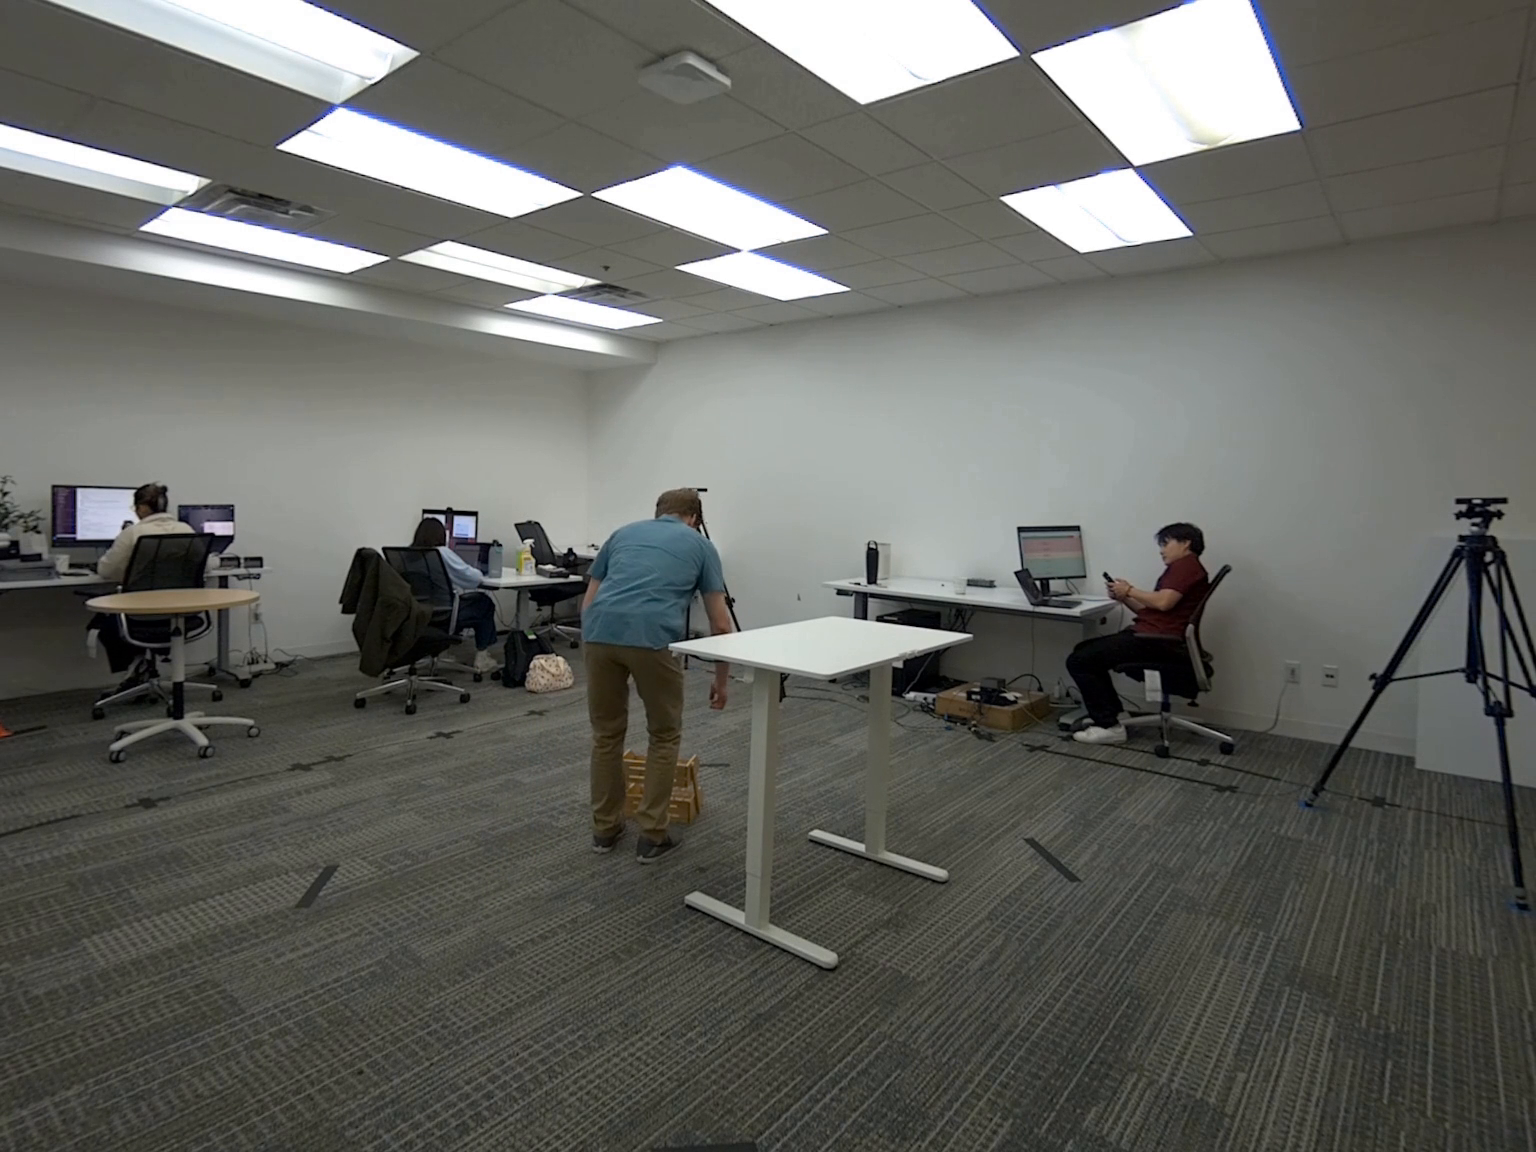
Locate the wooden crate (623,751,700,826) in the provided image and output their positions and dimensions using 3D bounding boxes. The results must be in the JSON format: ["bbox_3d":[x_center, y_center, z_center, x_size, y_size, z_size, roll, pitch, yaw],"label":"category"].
[{"bbox_3d":[-0.467,0.878,3.660,0.329,0.272,0.299,2,5,11],"label":"wooden crate"}]
